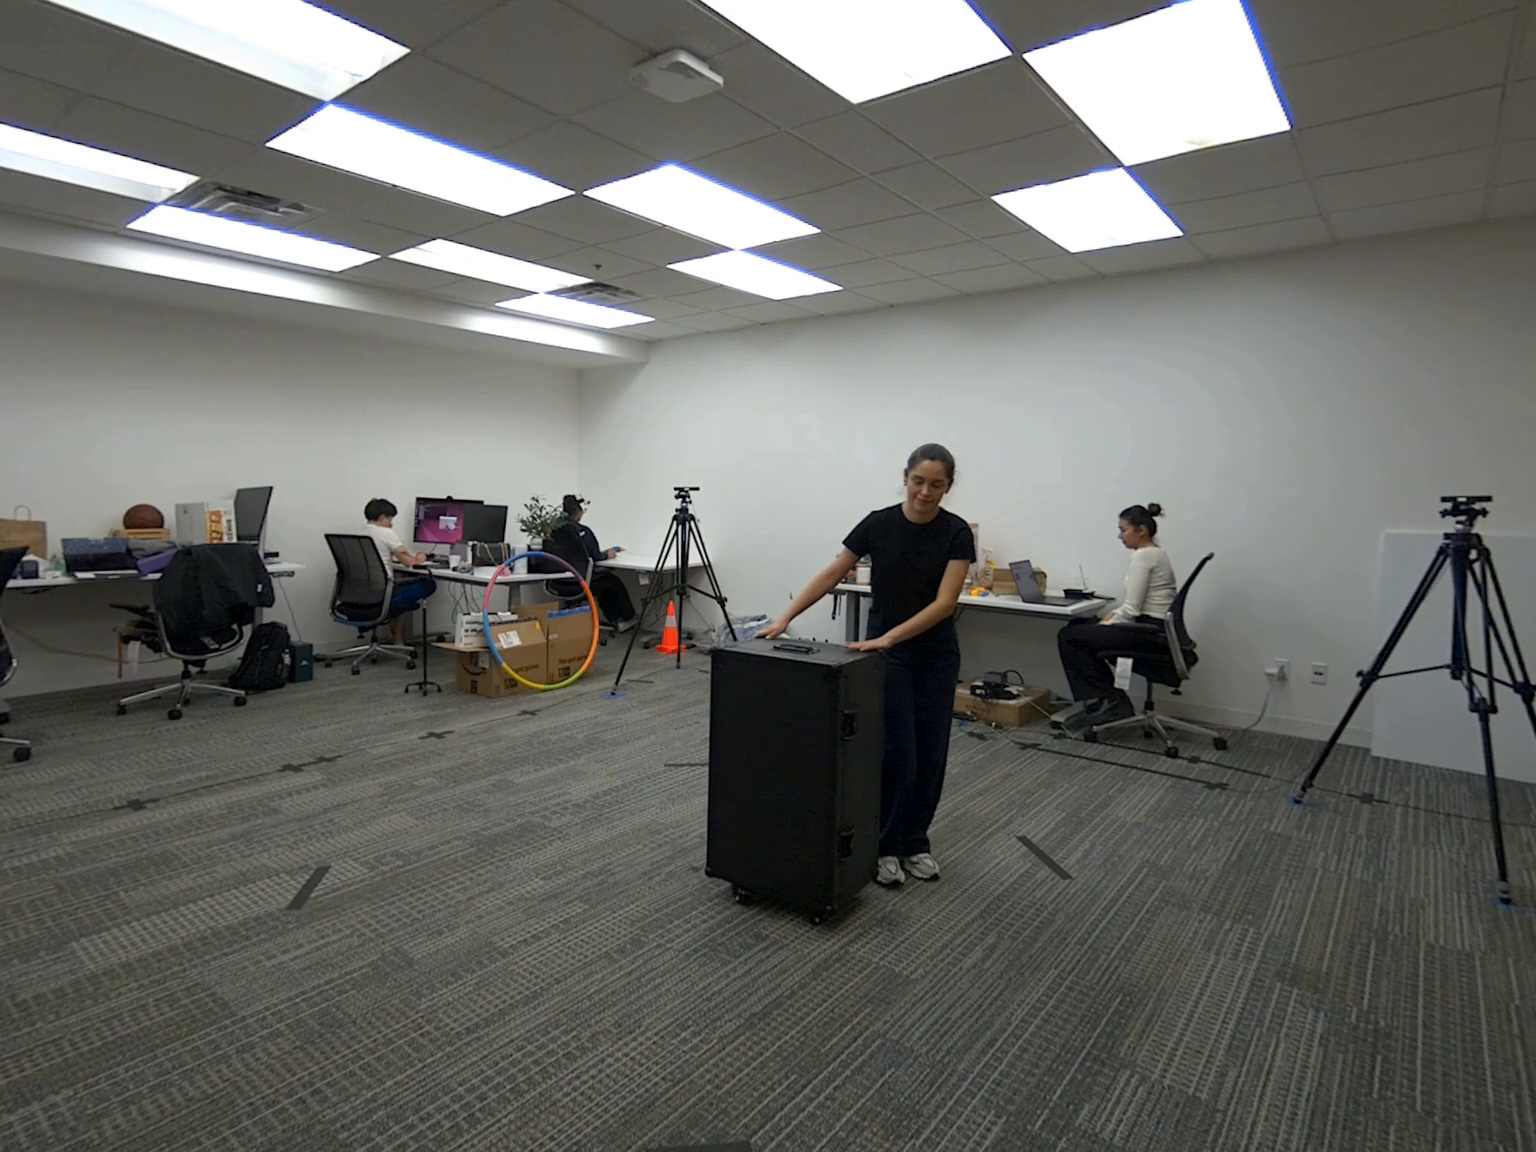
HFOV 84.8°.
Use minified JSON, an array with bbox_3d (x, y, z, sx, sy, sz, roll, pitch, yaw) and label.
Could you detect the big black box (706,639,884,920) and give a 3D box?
[{"bbox_3d":[0.103,0.665,2.906,0.537,0.860,0.385,3,3,32],"label":"big black box"}]
